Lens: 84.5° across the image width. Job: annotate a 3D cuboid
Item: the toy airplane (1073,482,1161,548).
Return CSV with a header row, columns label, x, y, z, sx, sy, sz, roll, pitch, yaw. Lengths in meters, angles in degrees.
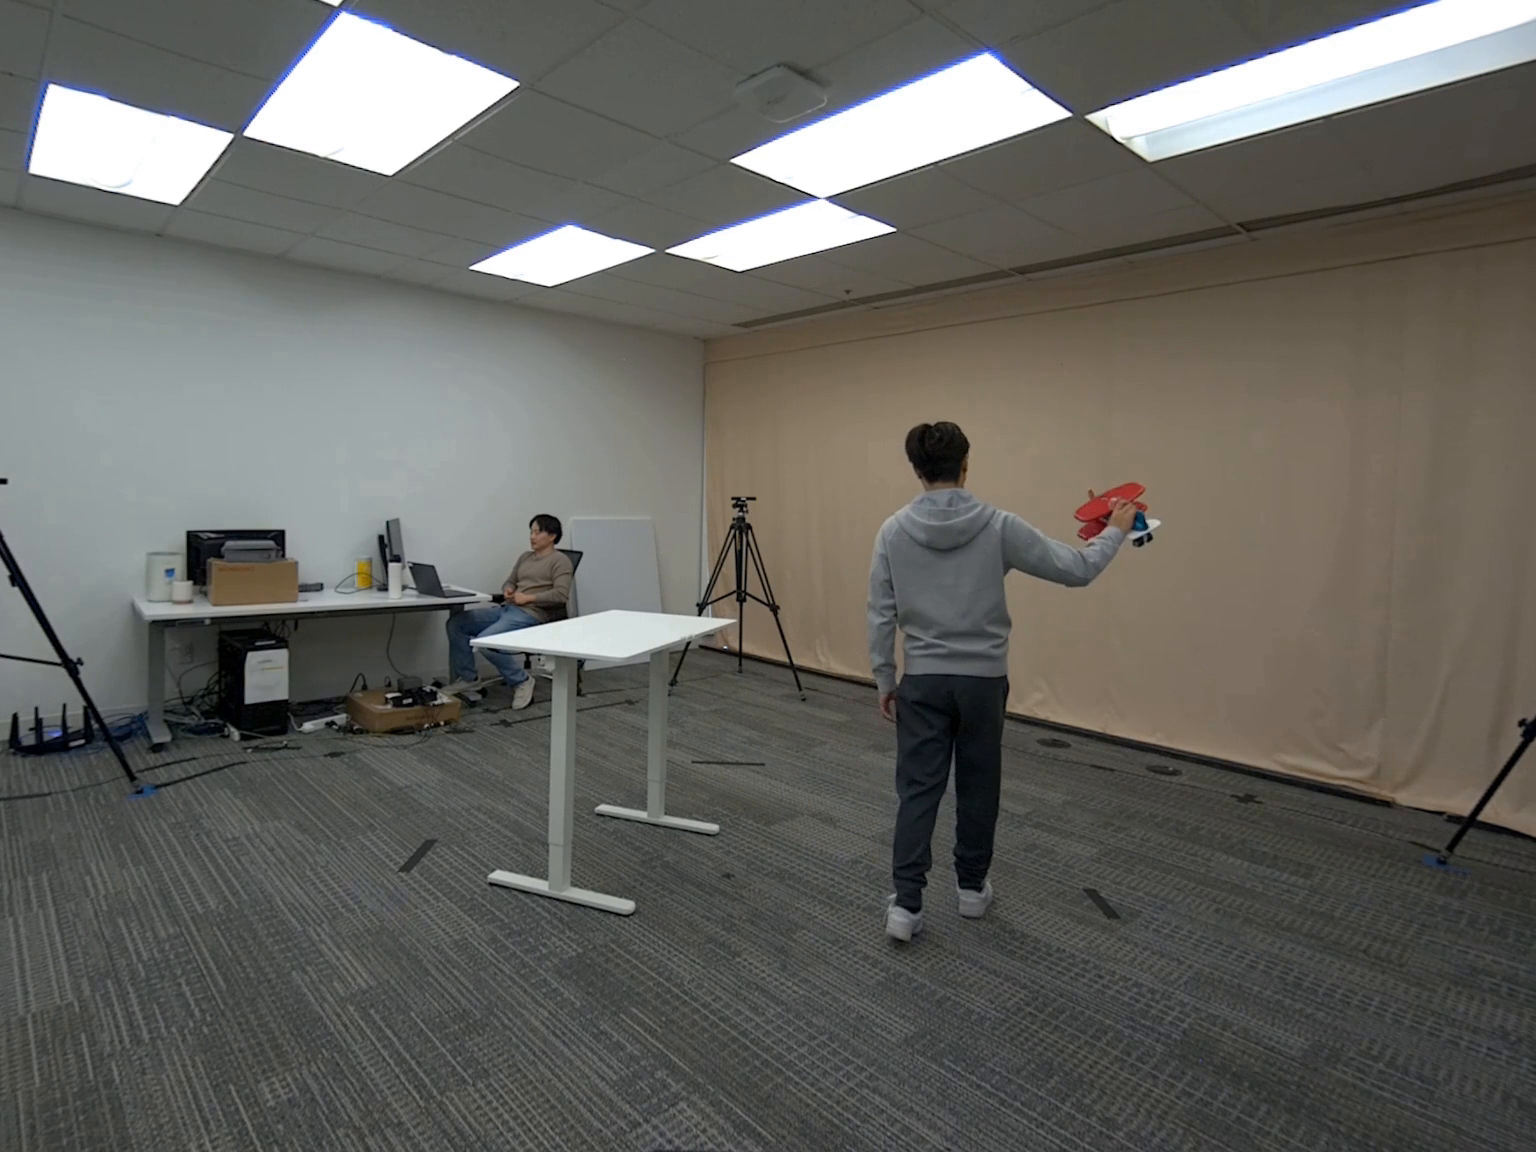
label,x,y,z,sx,sy,sz,roll,pitch,yaw
toy airplane,1.194,-0.208,2.825,0.250,0.154,0.264,-40,18,-31
